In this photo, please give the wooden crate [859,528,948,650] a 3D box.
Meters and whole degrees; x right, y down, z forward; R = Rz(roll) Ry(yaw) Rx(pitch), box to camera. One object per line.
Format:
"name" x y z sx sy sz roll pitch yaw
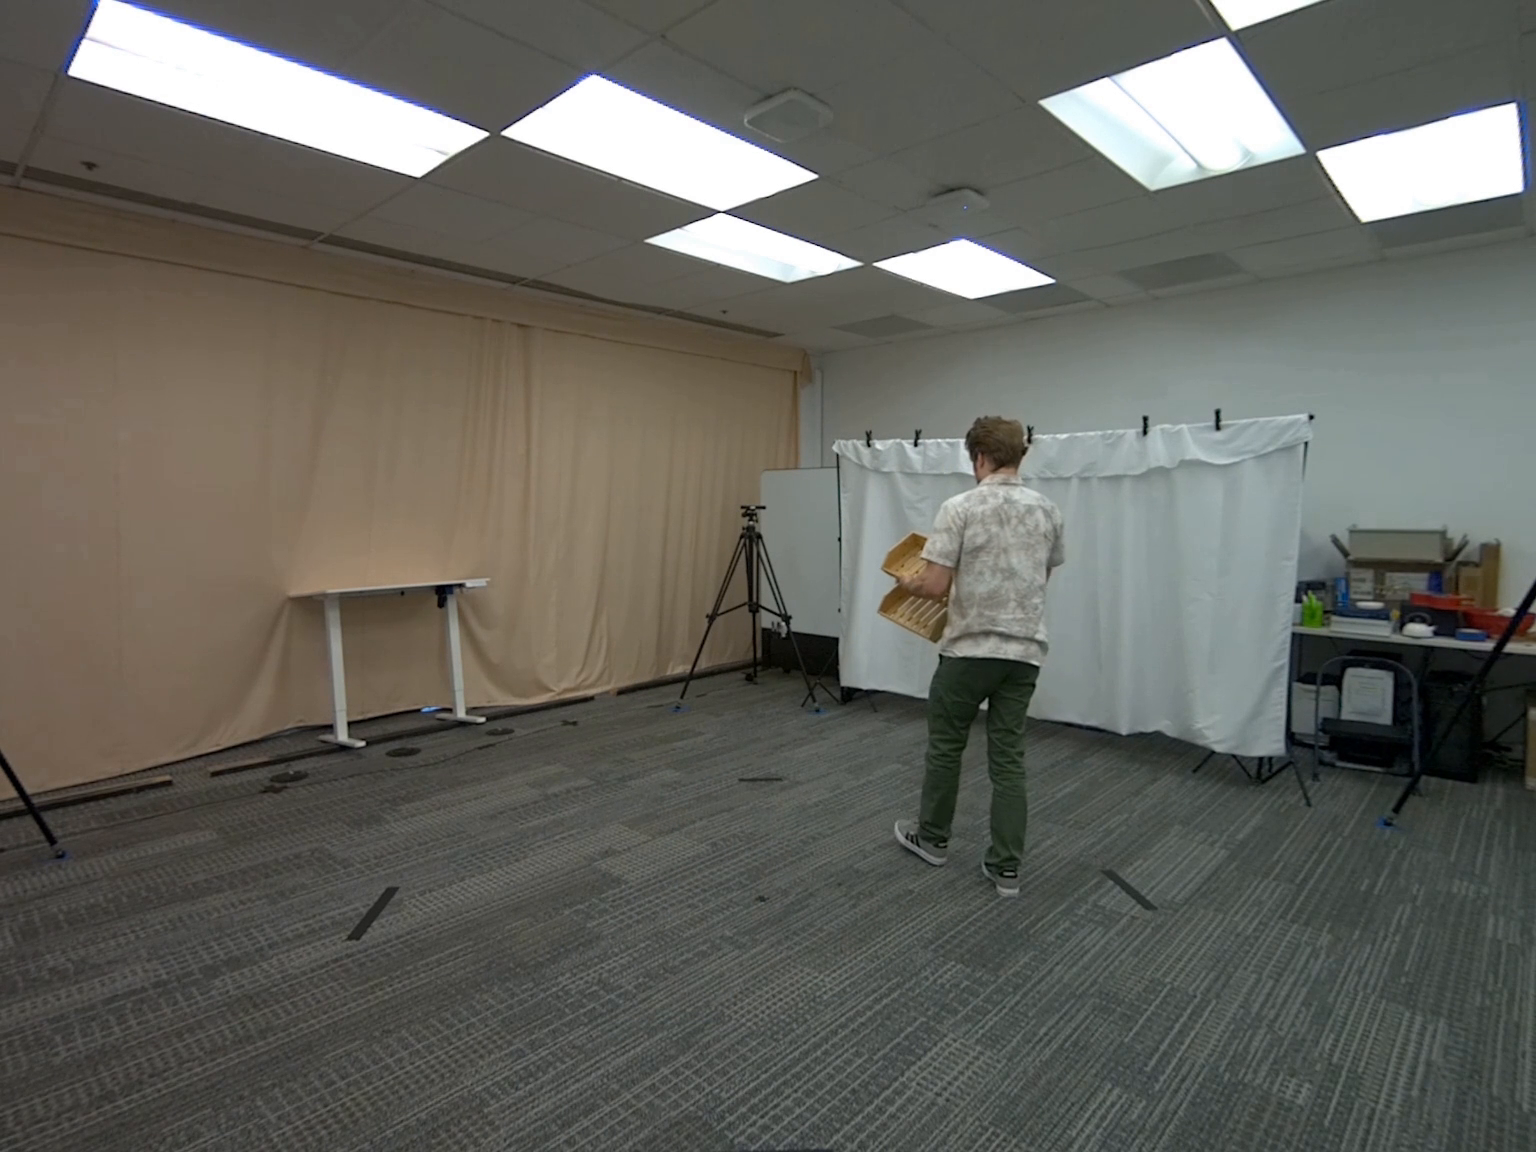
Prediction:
"wooden crate" 0.620 0.042 3.391 0.299 0.266 0.336 -38 36 -19
